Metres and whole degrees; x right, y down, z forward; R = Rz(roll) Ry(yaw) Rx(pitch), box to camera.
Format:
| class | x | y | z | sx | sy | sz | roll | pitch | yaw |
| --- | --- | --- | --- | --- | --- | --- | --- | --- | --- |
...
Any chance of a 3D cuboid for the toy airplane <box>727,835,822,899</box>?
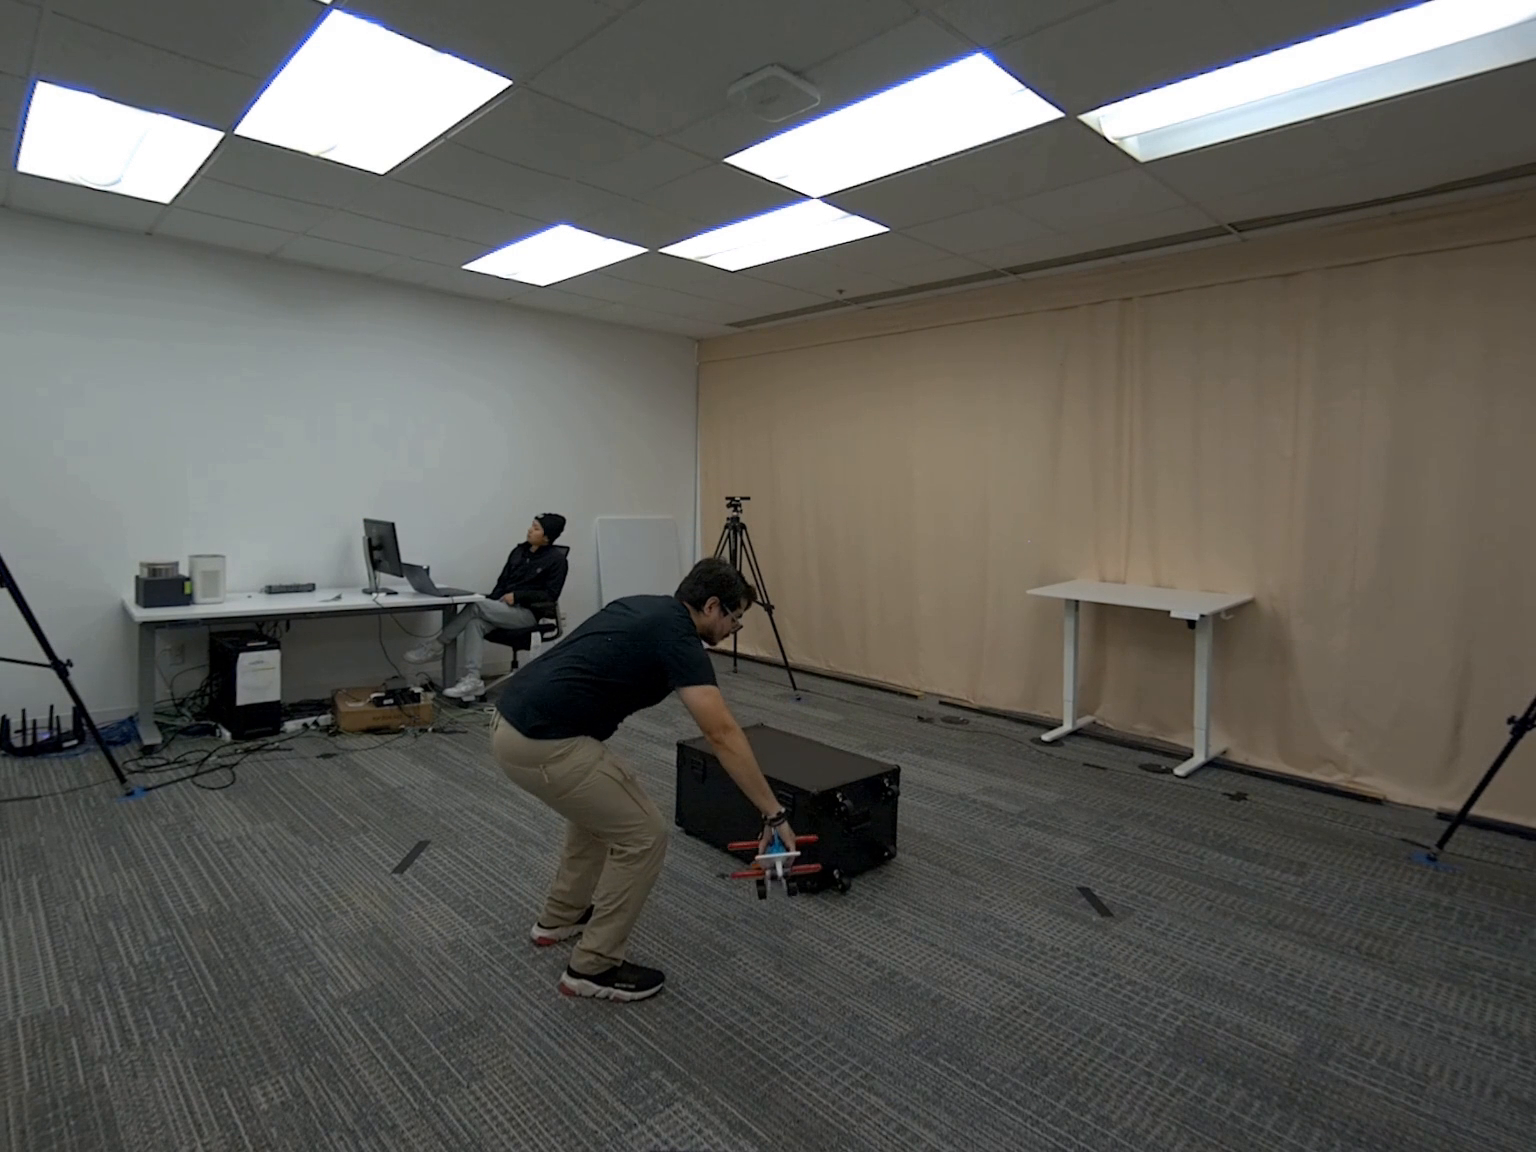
| class | x | y | z | sx | sy | sz | roll | pitch | yaw |
| --- | --- | --- | --- | --- | --- | --- | --- | --- | --- |
| toy airplane | 0.028 | 0.787 | 2.323 | 0.246 | 0.160 | 0.258 | 12 | -40 | -26 |
